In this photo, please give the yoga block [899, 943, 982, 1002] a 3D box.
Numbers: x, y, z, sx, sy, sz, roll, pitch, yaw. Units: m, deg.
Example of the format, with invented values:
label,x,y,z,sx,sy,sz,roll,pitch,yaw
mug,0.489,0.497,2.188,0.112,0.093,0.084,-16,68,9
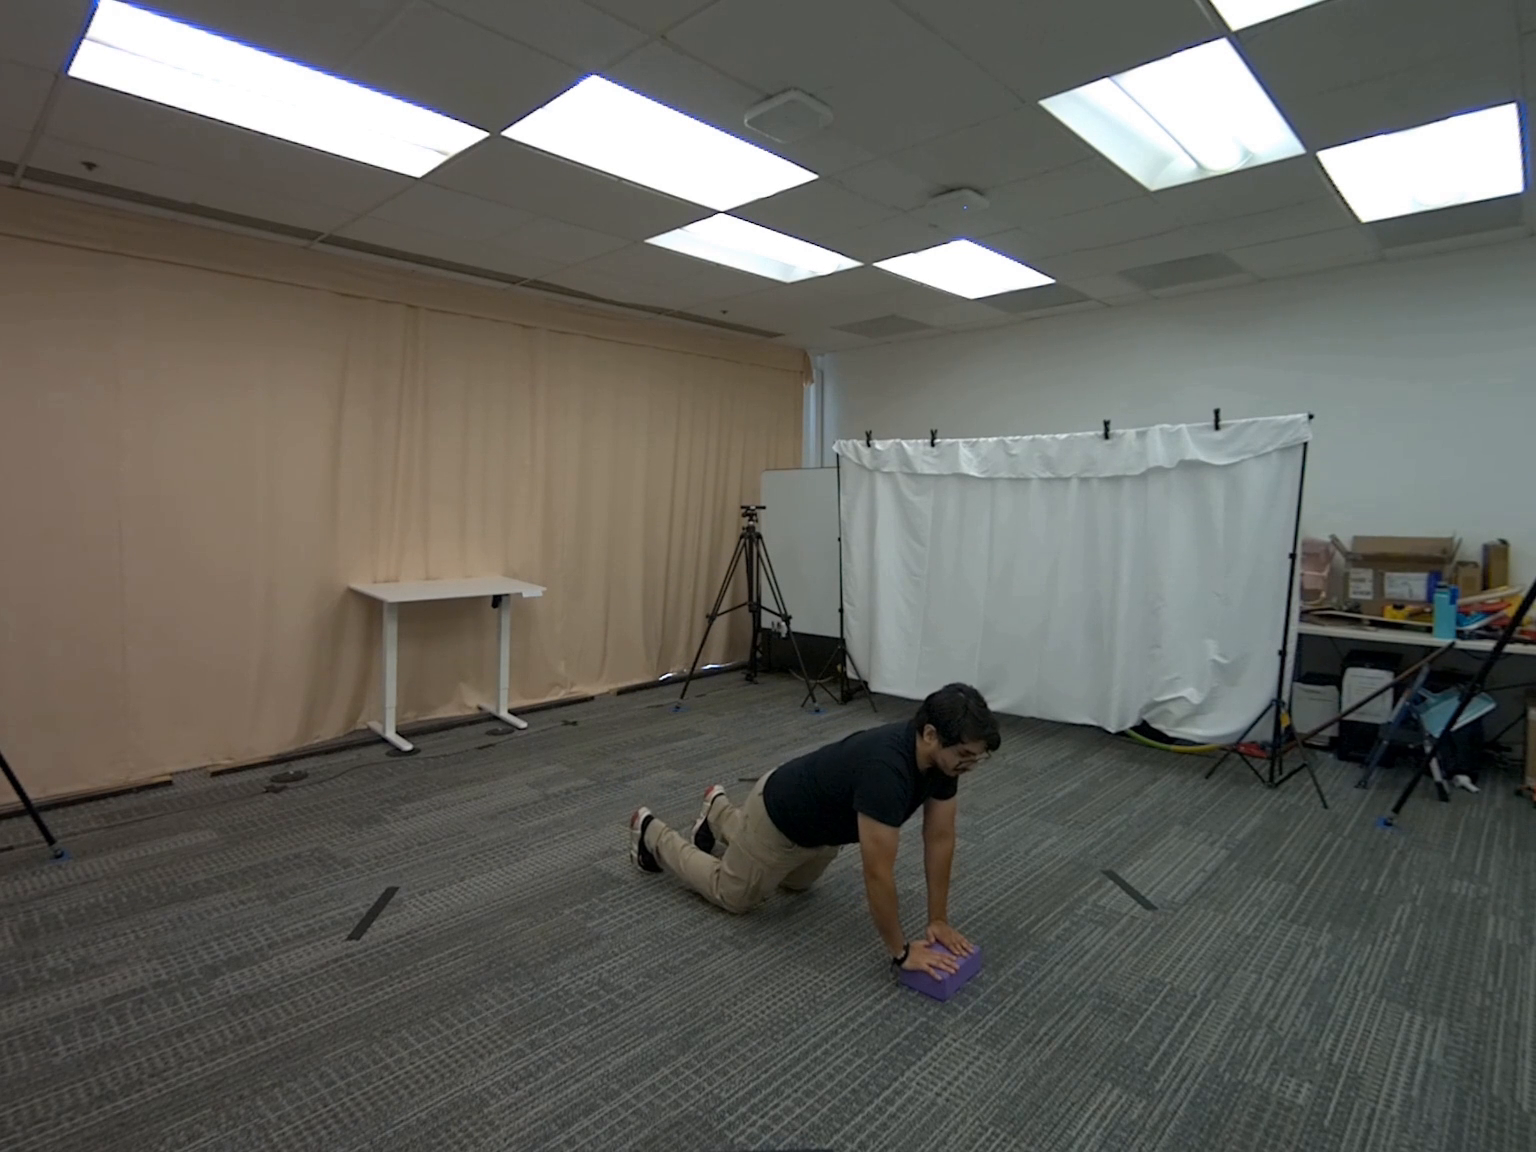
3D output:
label,x,y,z,sx,sy,sz,roll,pitch,yaw
yoga block,0.515,1.148,2.482,0.154,0.076,0.222,6,7,41
